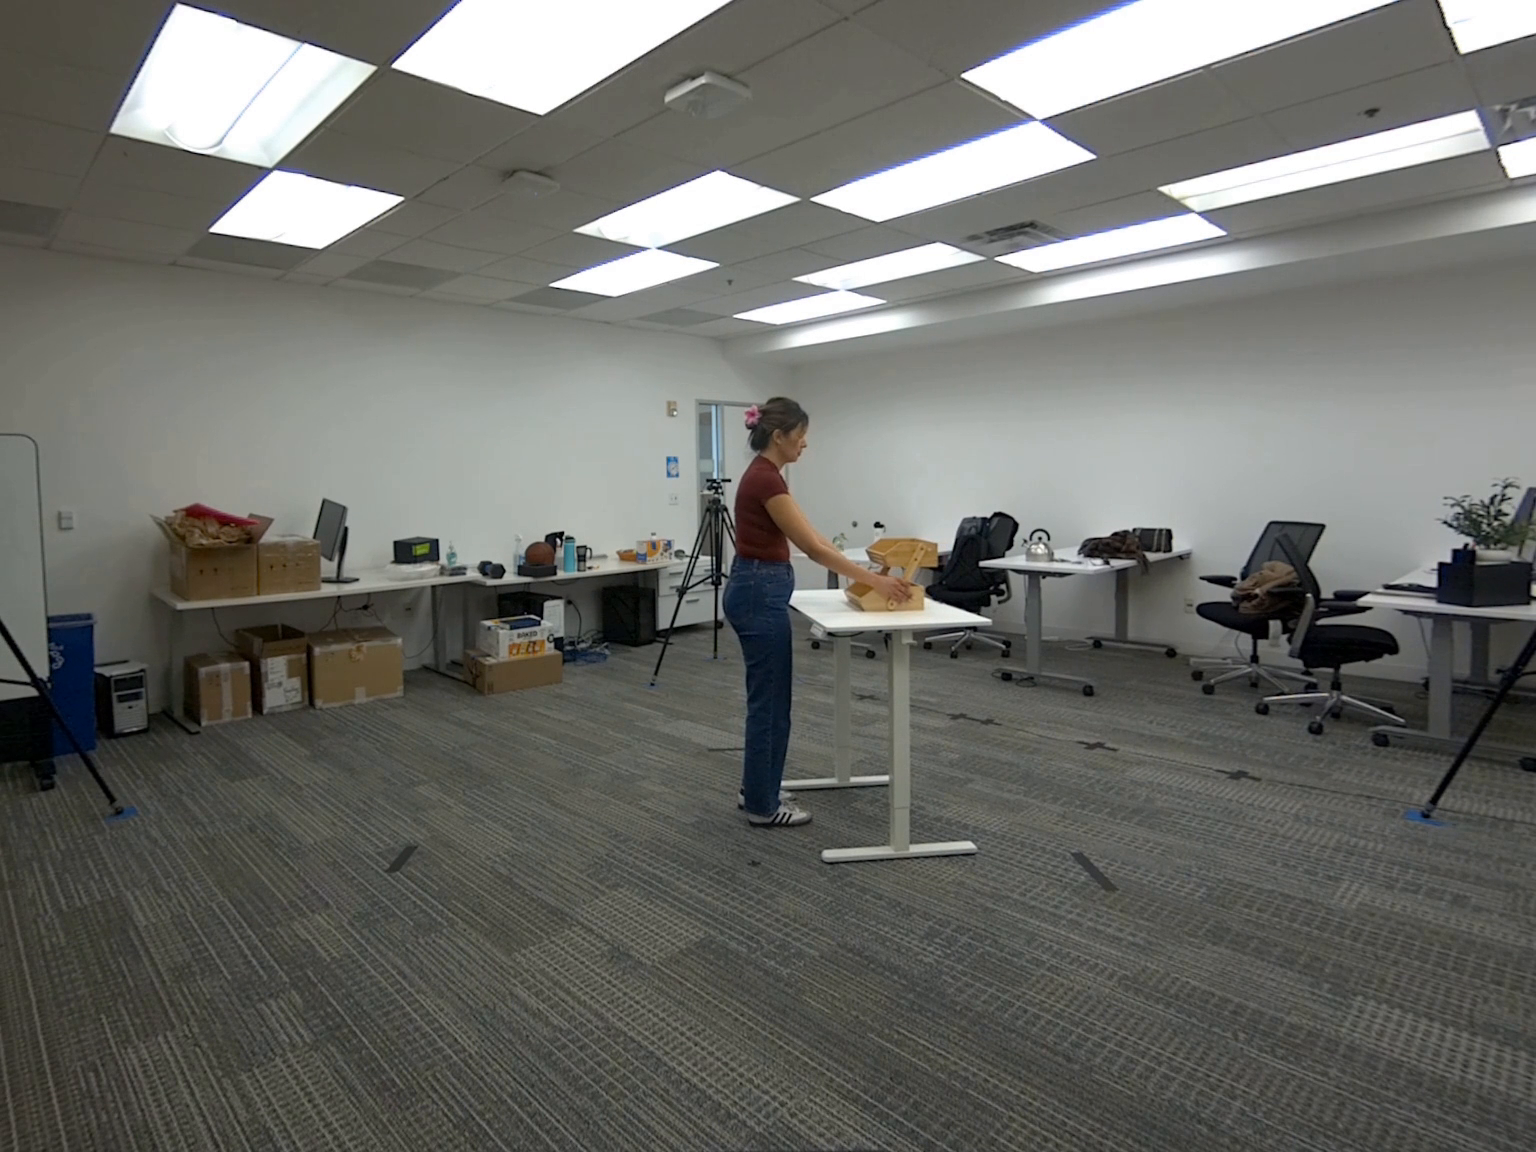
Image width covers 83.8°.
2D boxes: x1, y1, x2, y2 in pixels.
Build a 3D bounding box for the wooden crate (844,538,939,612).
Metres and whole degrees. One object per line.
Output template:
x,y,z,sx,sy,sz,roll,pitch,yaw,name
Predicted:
0.478,-0.013,3.409,0.300,0.272,0.327,-1,5,-6,wooden crate
